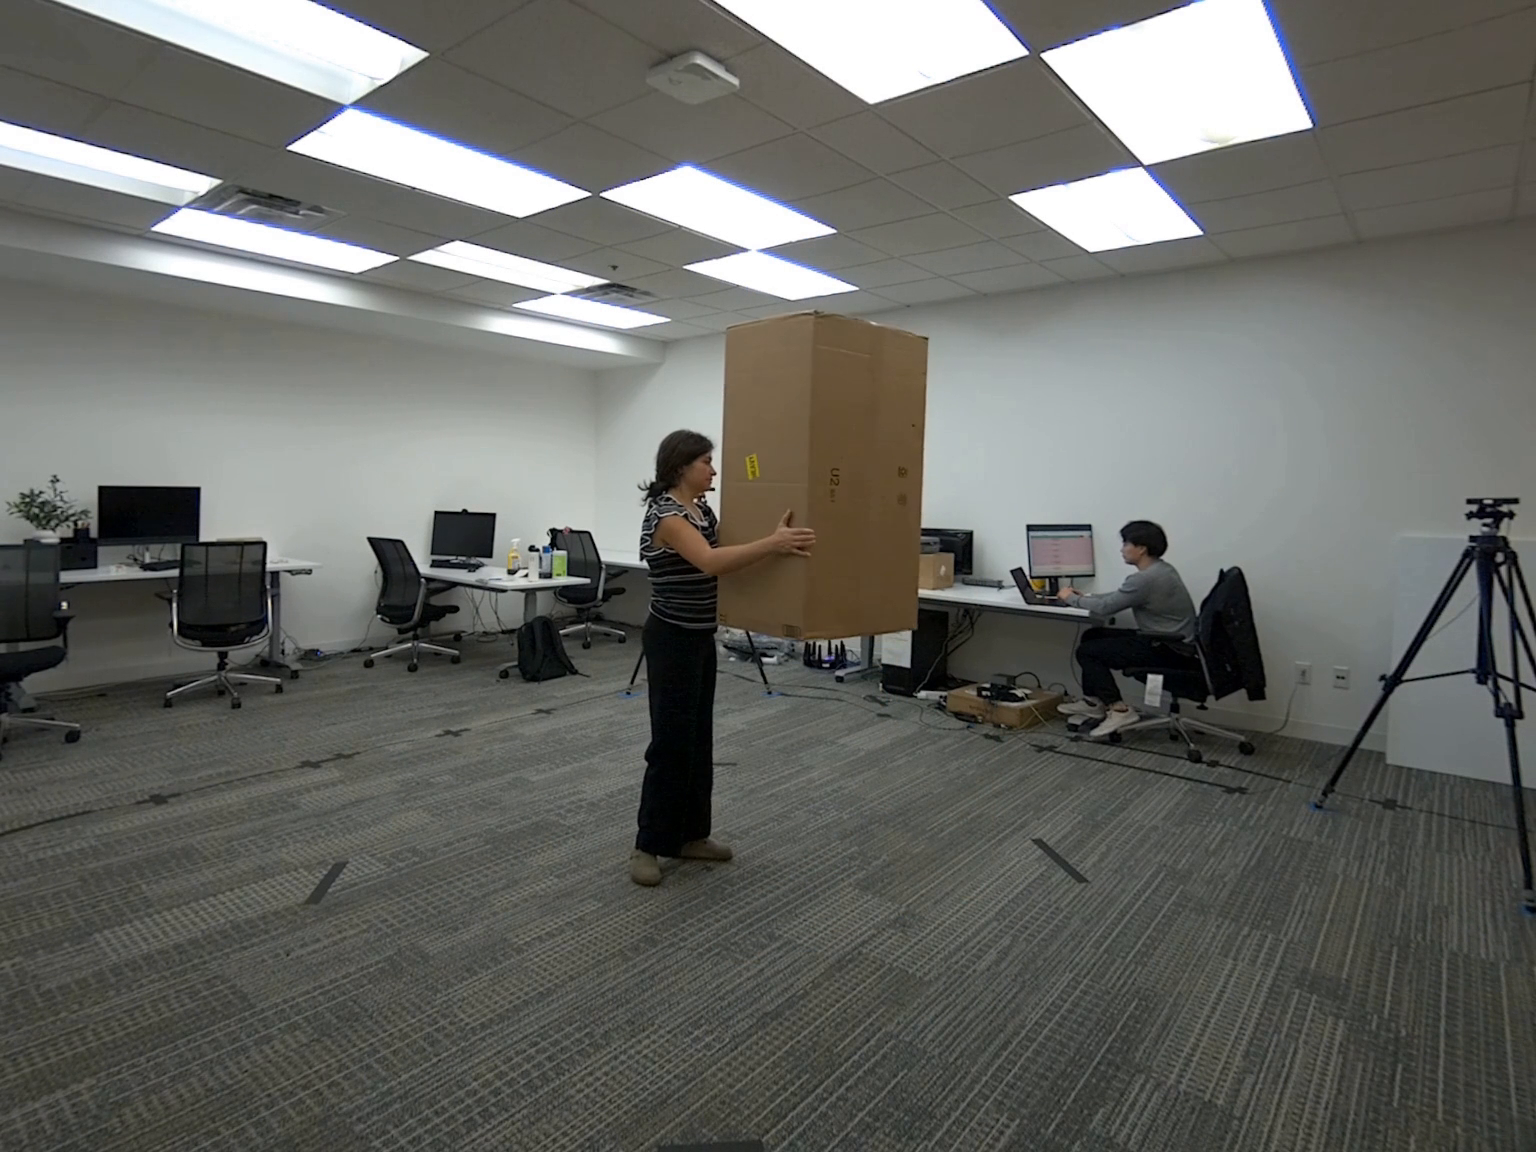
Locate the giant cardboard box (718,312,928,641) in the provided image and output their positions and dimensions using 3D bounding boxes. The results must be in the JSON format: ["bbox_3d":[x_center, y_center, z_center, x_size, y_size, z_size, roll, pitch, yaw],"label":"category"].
[{"bbox_3d":[0.180,-0.329,2.941,0.560,1.023,0.441,-1,4,-42],"label":"giant cardboard box"}]
